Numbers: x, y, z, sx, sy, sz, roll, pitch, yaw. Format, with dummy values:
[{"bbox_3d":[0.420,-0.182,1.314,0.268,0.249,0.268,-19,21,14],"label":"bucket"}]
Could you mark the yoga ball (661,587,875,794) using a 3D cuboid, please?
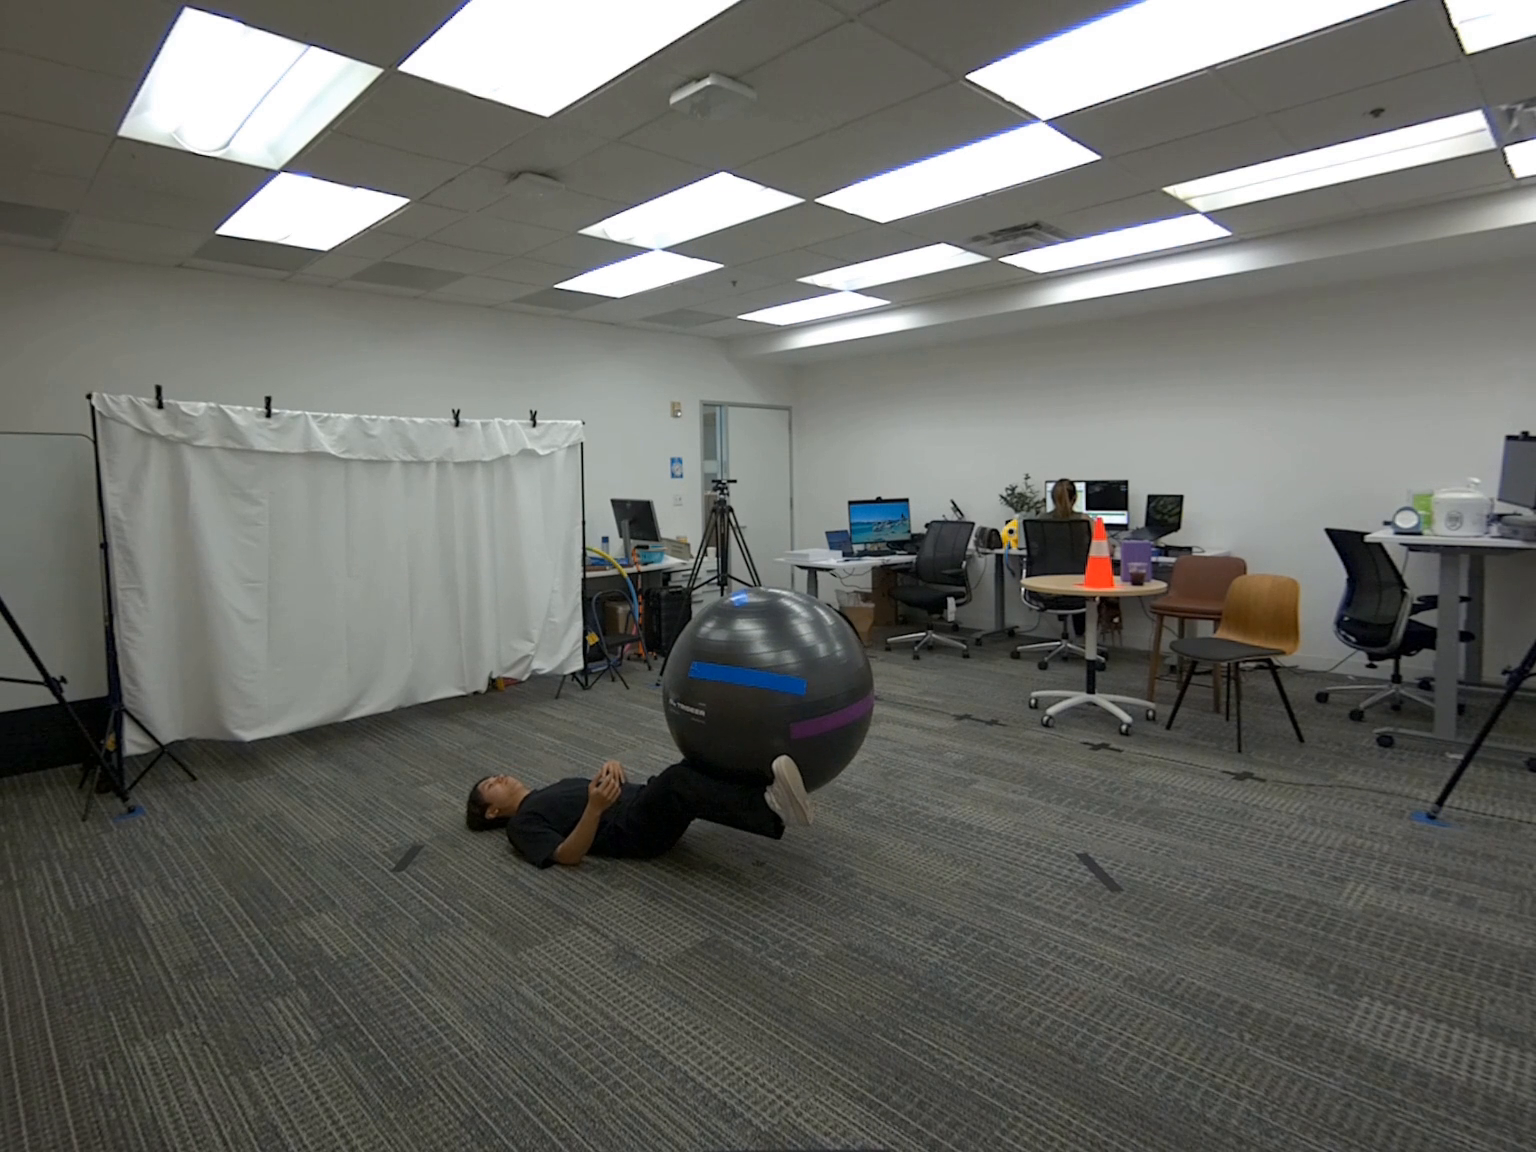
[{"bbox_3d":[0.004,0.418,3.098,0.757,0.755,0.762,-1,5,-2],"label":"yoga ball"}]
